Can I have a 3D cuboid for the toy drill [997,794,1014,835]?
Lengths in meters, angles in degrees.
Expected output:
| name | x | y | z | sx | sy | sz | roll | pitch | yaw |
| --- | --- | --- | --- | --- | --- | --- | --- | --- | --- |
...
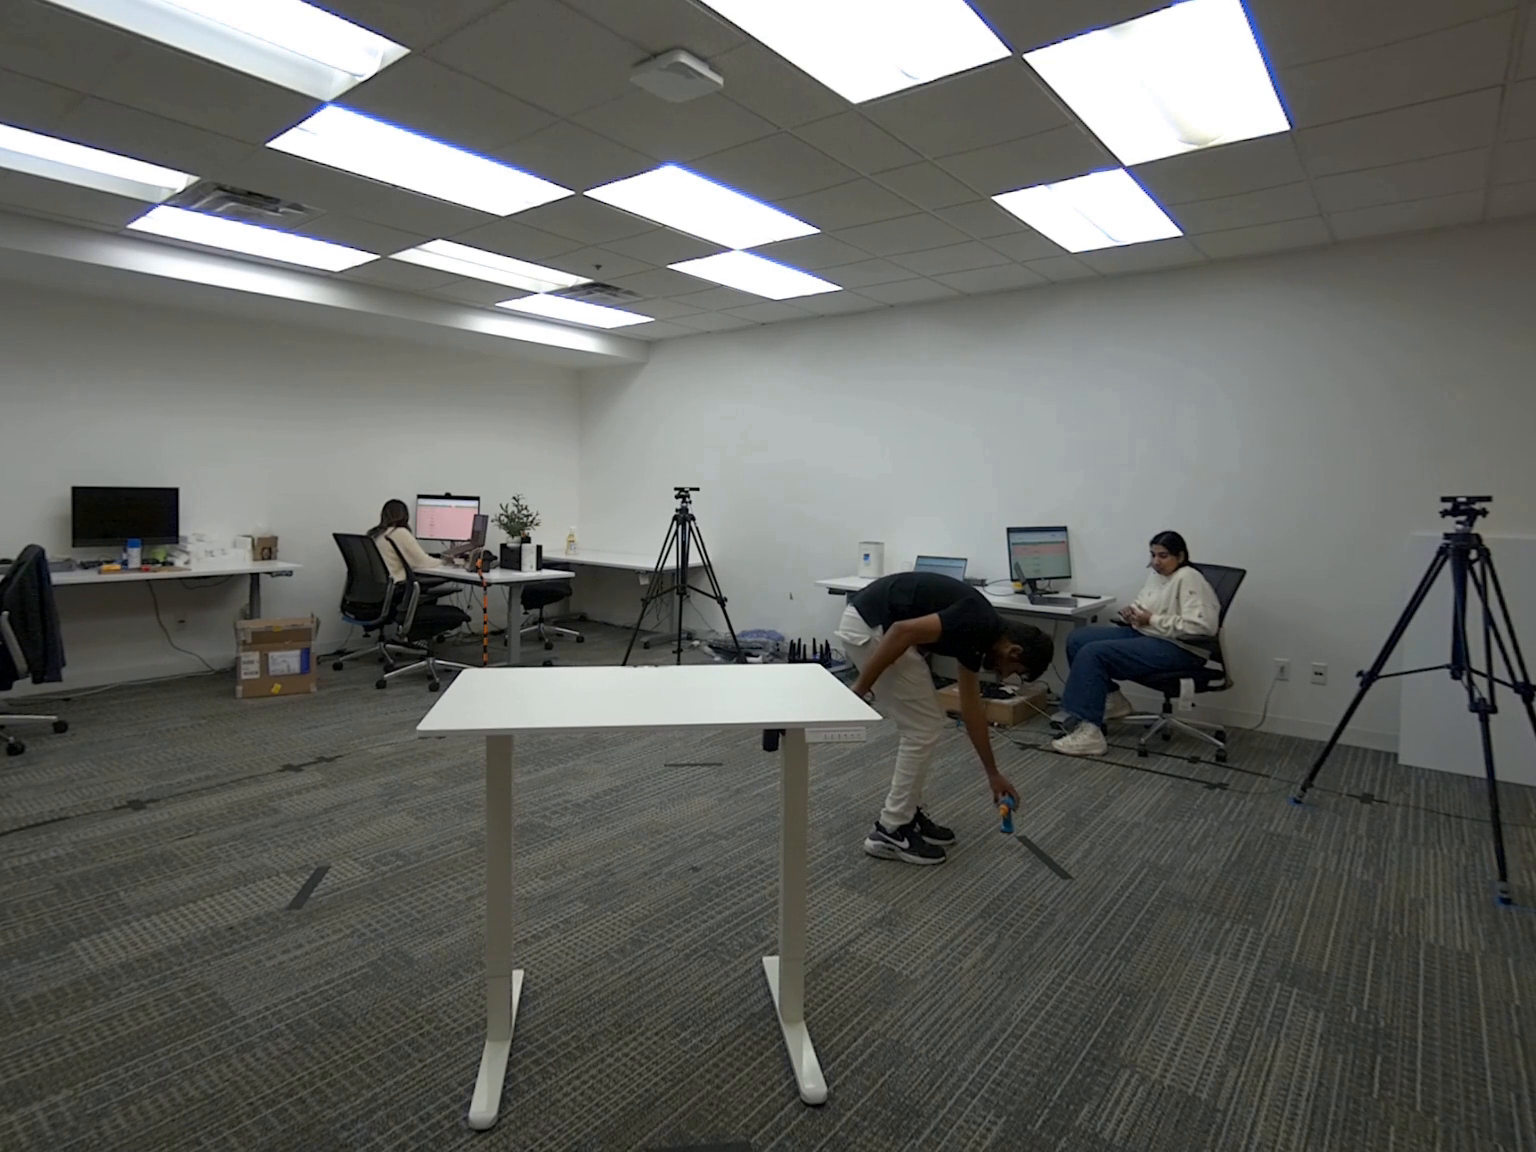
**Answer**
| name | x | y | z | sx | sy | sz | roll | pitch | yaw |
| --- | --- | --- | --- | --- | --- | --- | --- | --- | --- |
| toy drill | 0.928 | 0.939 | 3.338 | 0.063 | 0.146 | 0.165 | -3 | 1 | 29 |
